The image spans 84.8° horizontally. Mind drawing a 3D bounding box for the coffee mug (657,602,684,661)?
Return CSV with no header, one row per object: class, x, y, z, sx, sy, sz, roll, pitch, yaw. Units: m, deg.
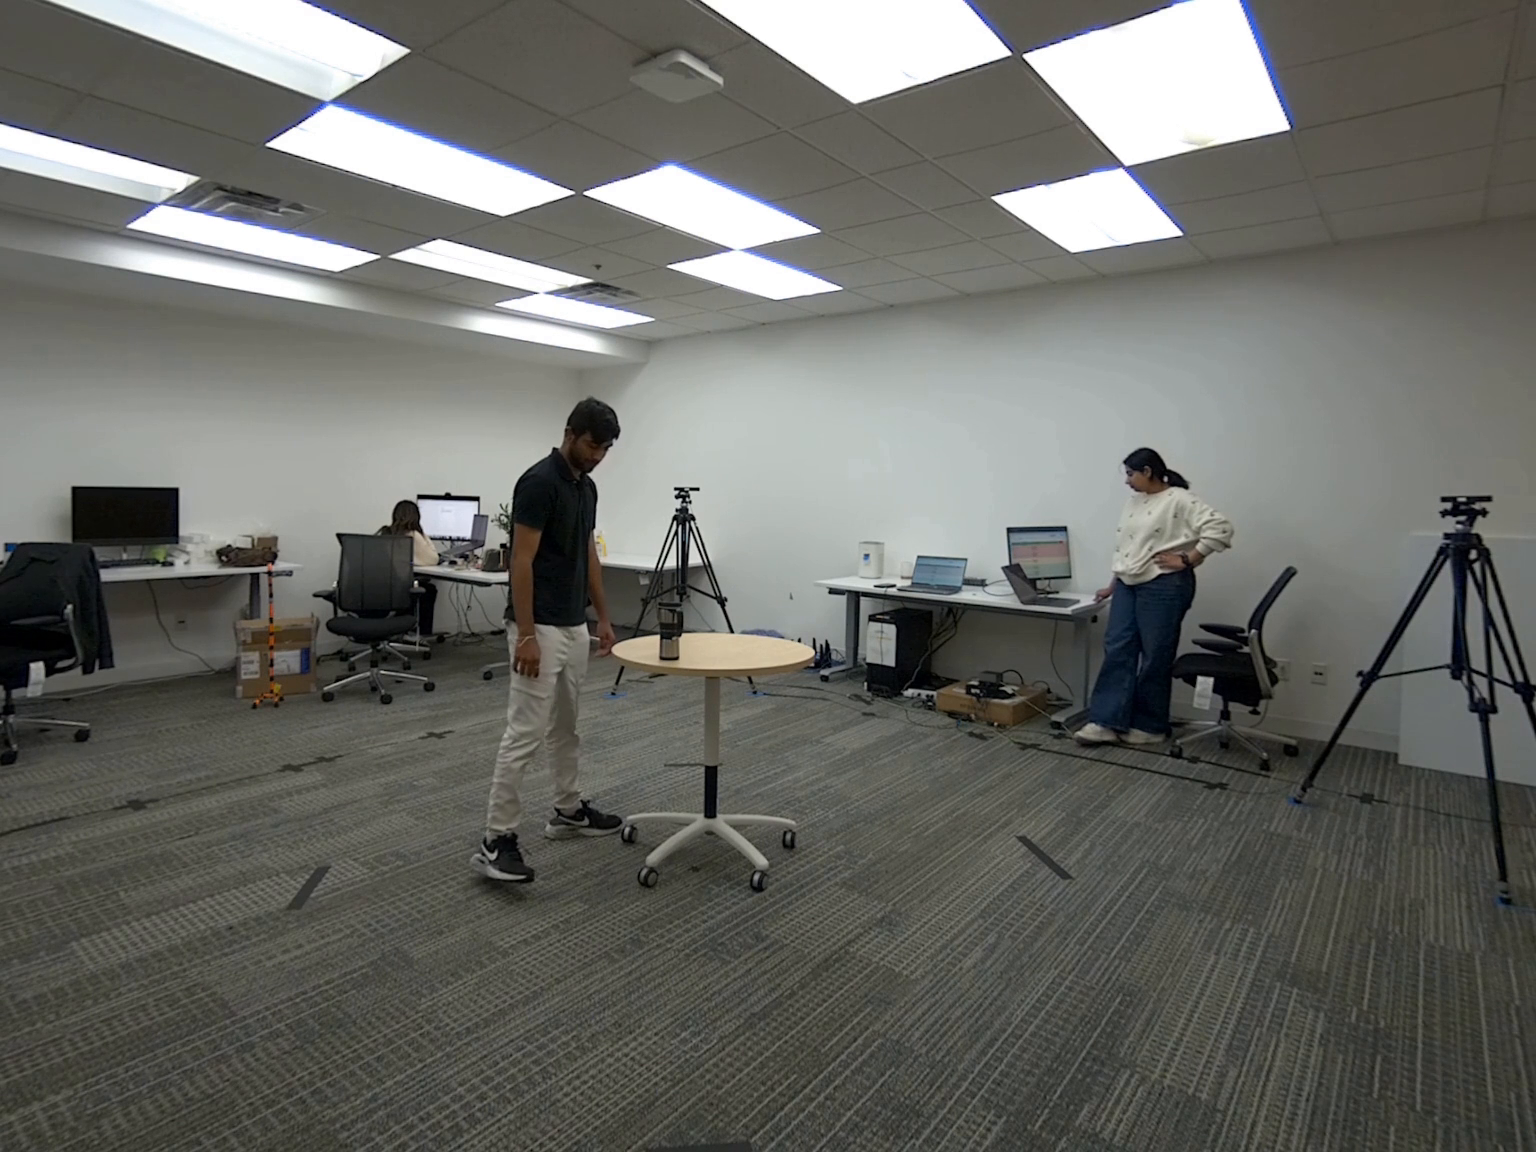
coffee mug,-0.359,0.192,2.979,0.086,0.203,0.124,2,-1,-16
